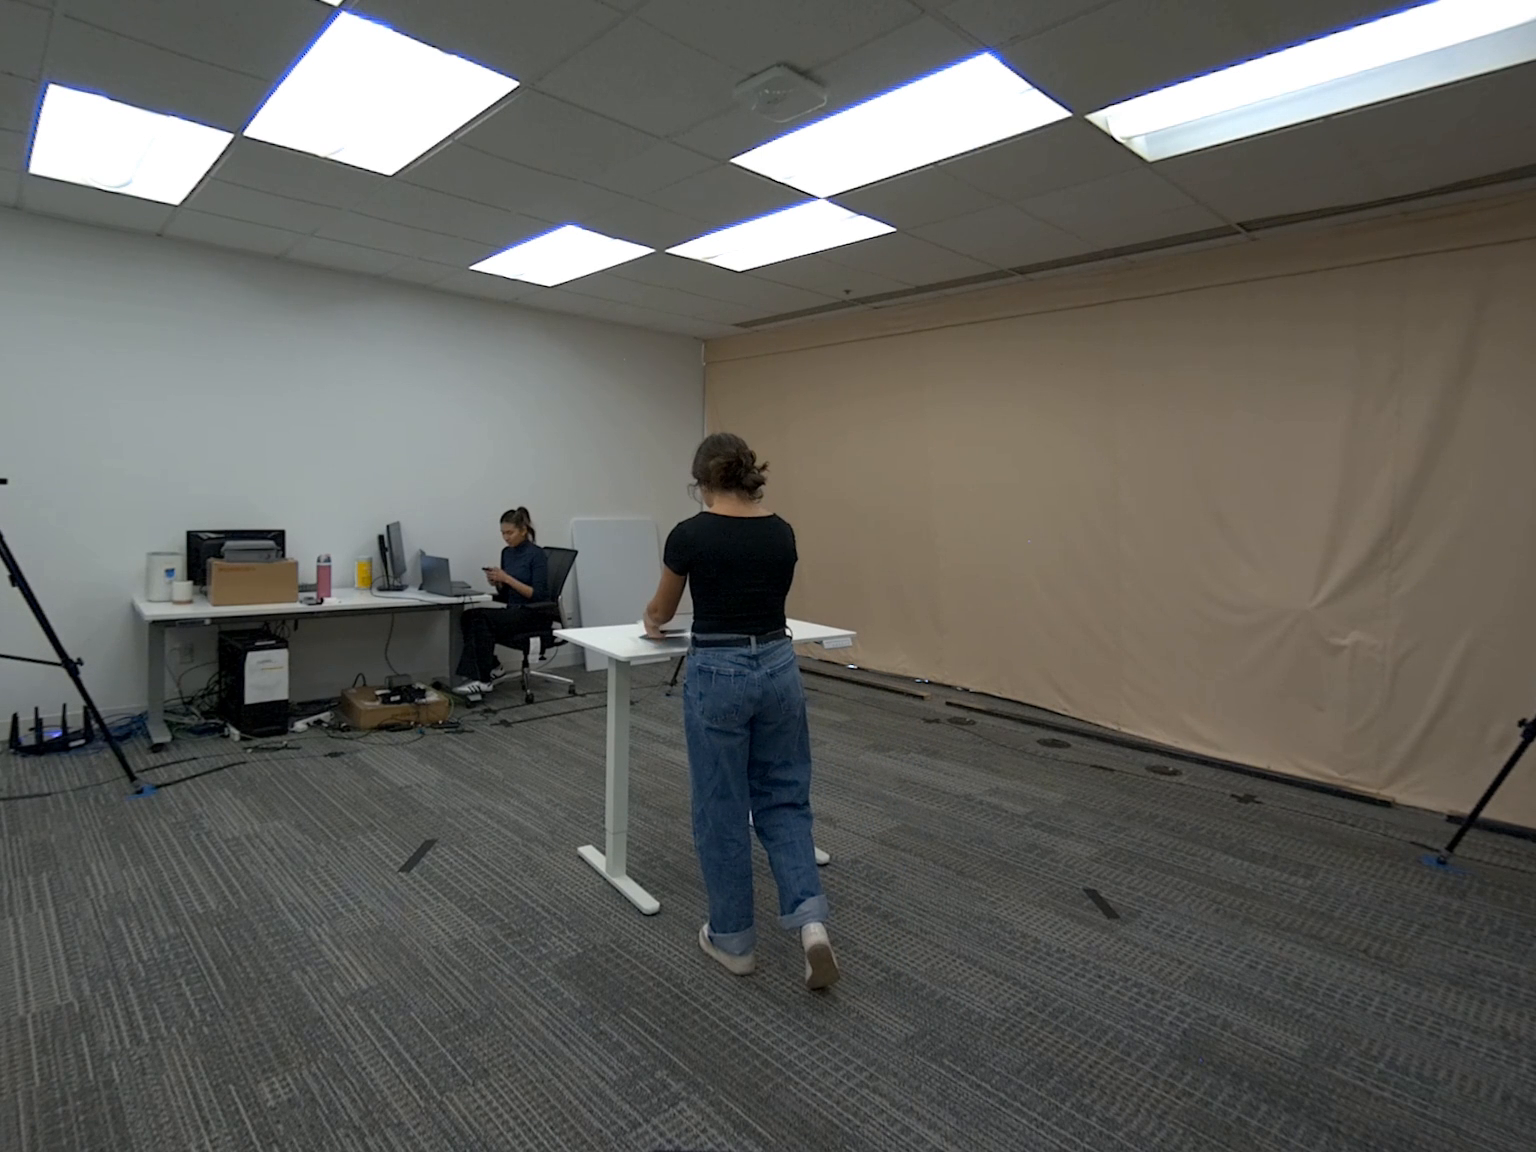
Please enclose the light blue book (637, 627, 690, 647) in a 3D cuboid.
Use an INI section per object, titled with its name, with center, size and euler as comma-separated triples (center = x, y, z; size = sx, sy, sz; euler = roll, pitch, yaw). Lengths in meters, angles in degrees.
[light blue book]
center = -0.358, 0.178, 2.978
size = 0.189, 0.059, 0.263
euler = -5, -4, -19
